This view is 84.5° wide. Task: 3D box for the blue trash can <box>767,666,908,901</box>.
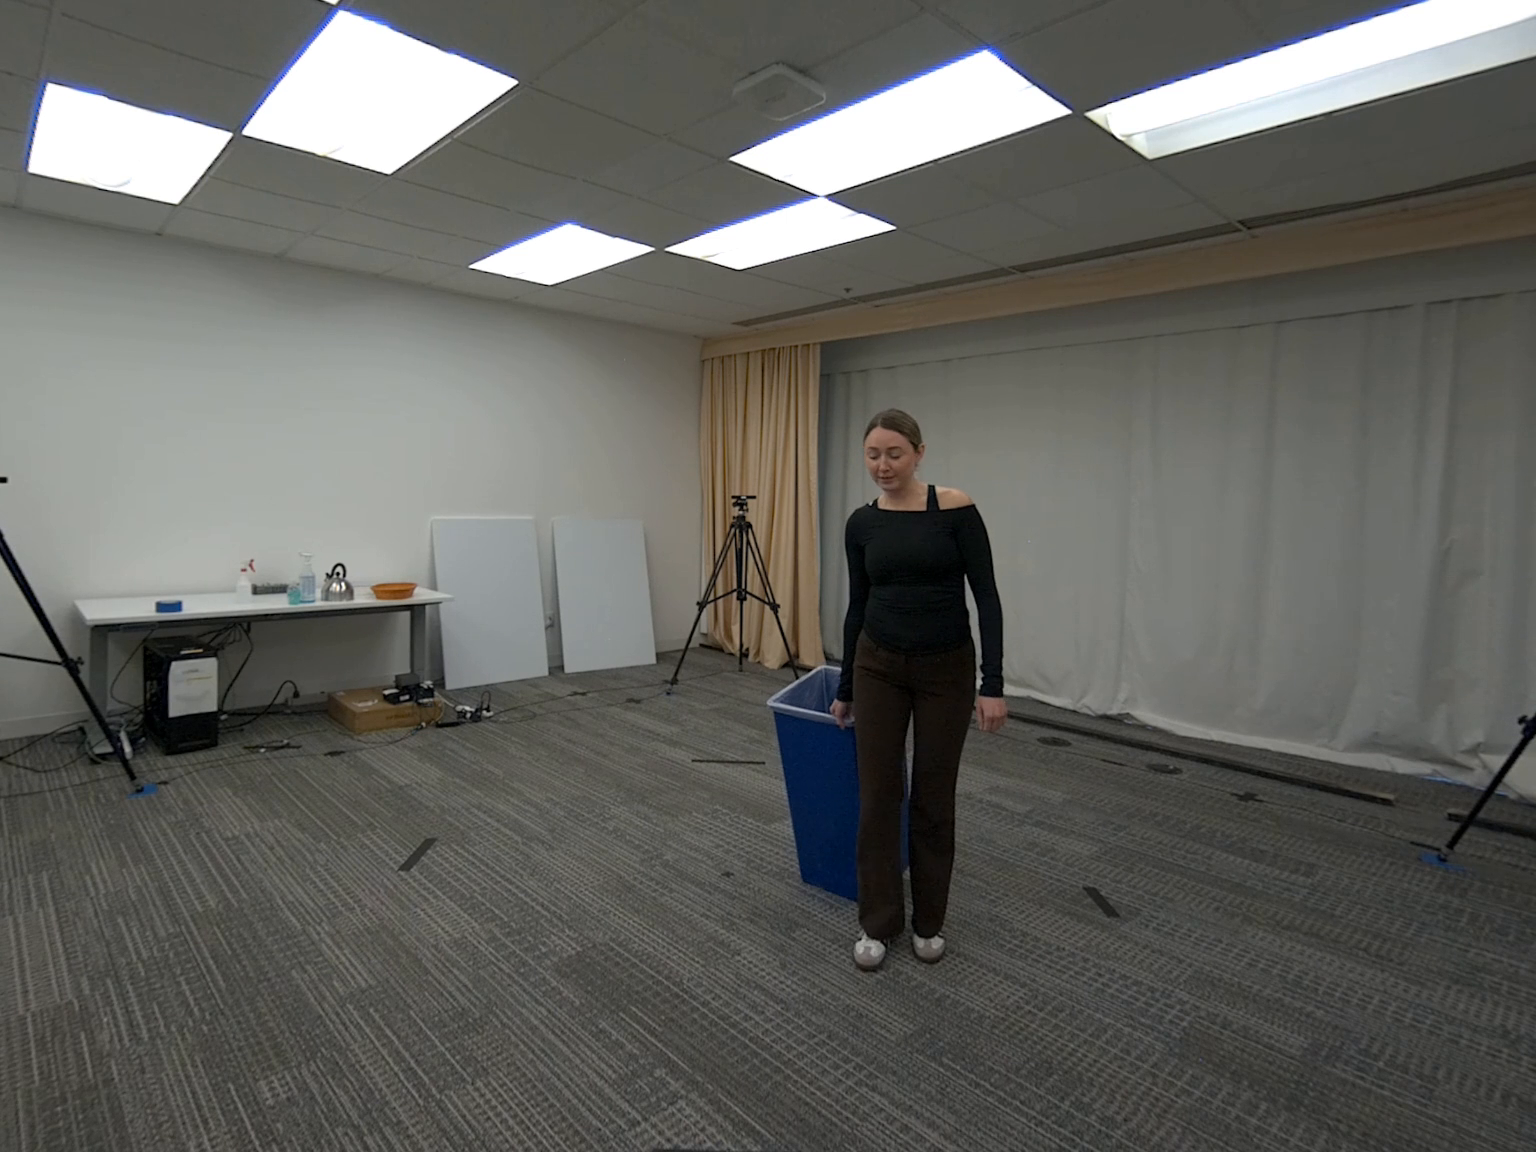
[{"bbox_3d":[0.276,0.739,2.988,0.387,0.706,0.368,3,16,40],"label":"blue trash can"}]
